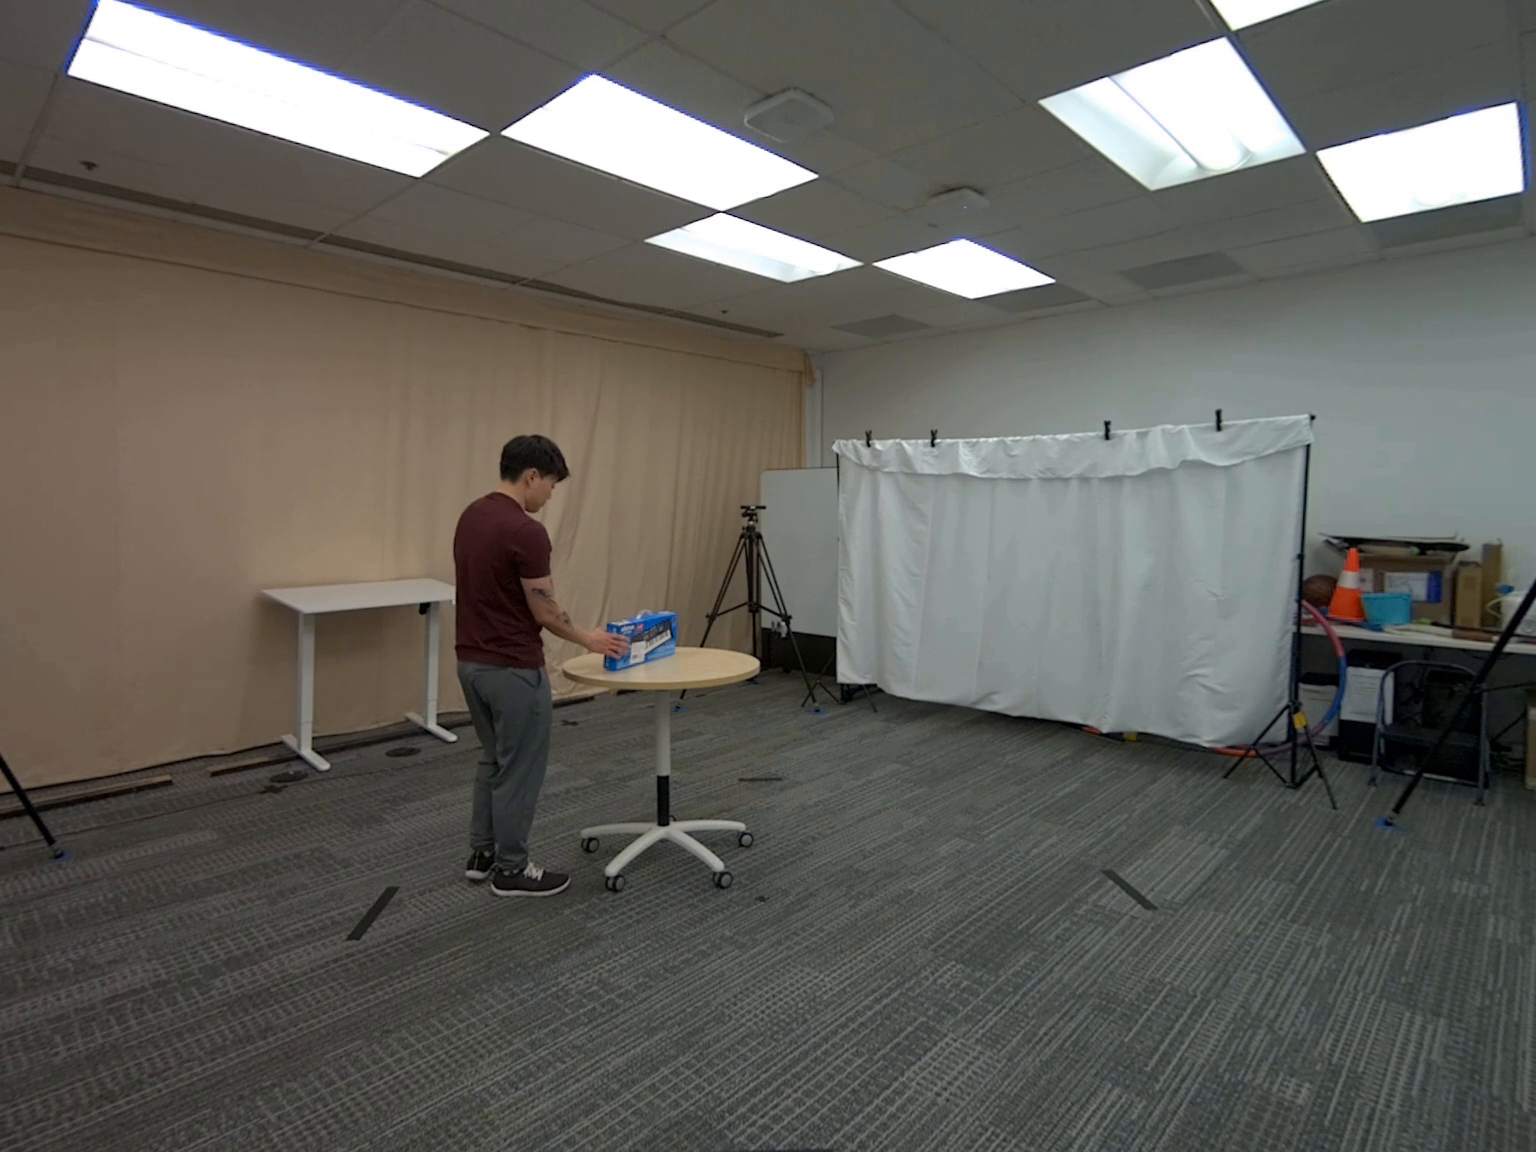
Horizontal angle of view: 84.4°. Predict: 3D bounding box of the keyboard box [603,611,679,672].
[{"bbox_3d":[-0.491,0.253,3.312,0.060,0.175,0.427,7,7,22],"label":"keyboard box"}]
